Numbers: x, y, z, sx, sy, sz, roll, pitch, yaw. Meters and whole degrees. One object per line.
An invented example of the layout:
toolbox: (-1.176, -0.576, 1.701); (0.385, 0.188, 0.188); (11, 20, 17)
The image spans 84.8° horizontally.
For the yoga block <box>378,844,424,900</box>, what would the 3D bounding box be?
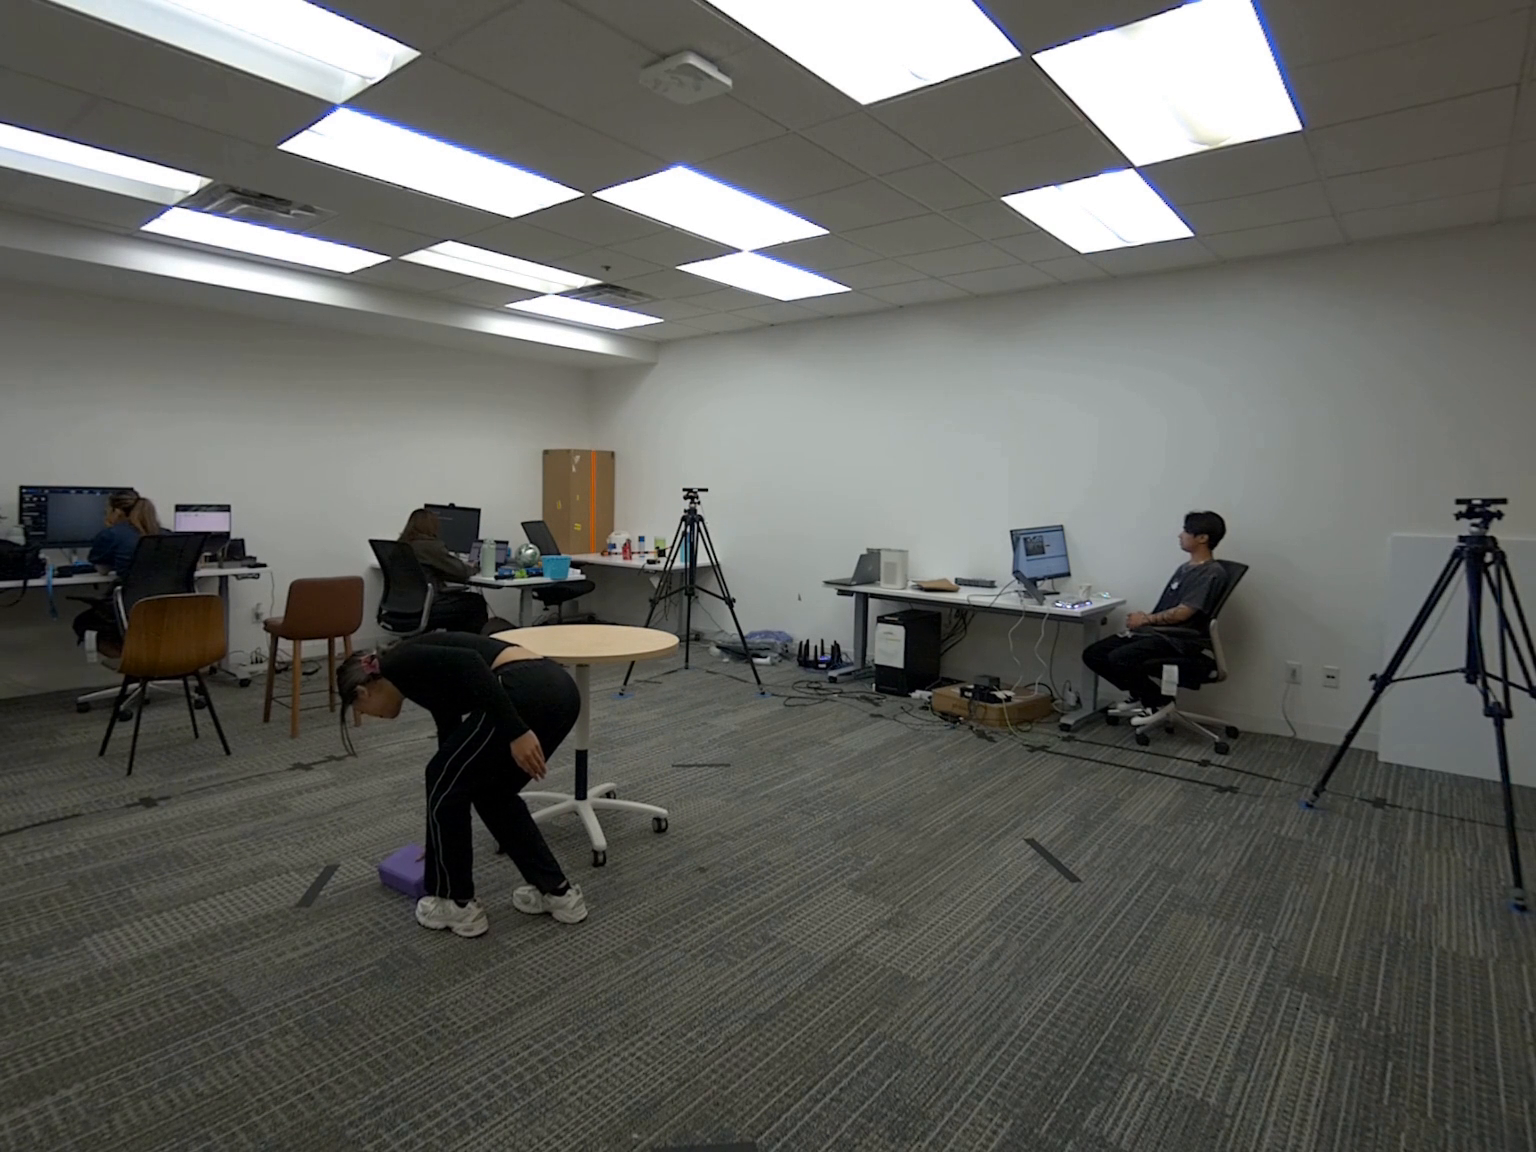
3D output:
yoga block: (-1.242, 1.018, 2.942); (0.236, 0.075, 0.147); (2, 17, 33)
